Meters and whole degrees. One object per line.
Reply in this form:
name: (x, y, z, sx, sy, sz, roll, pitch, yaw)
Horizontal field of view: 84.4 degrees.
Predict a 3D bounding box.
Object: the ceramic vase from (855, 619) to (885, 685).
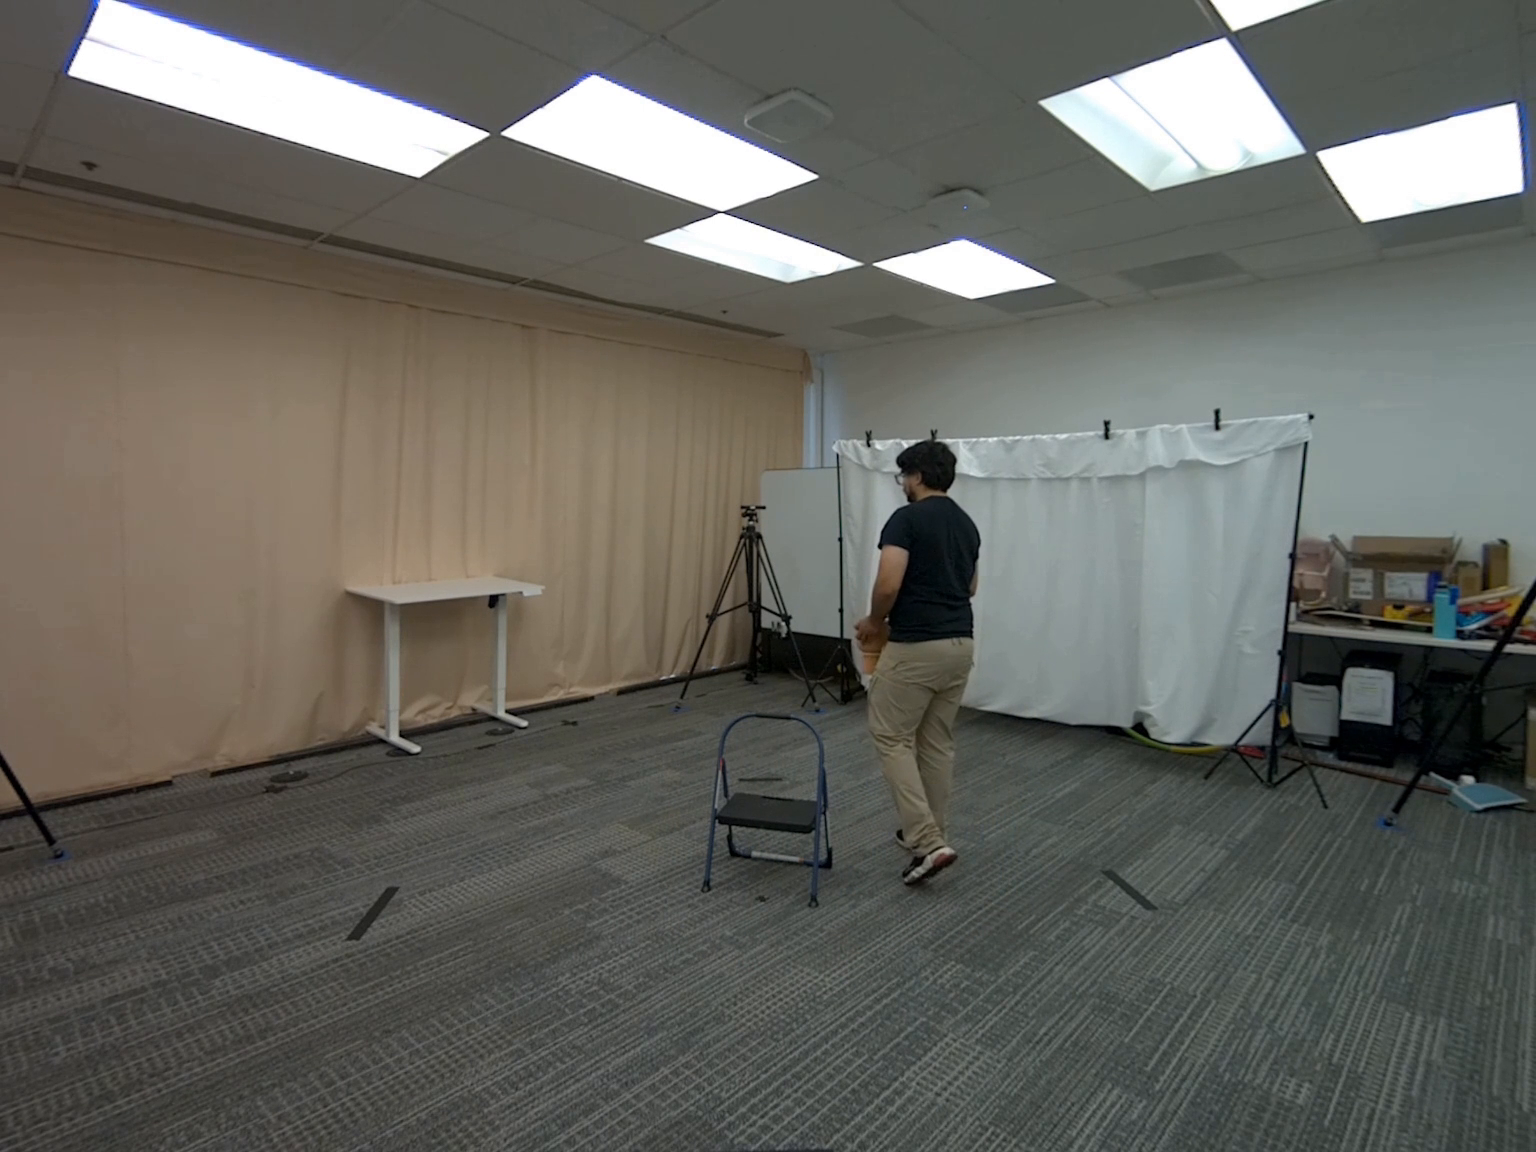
ceramic vase: (0.441, 0.292, 3.485, 0.160, 0.220, 0.133, 0, -1, 9)
